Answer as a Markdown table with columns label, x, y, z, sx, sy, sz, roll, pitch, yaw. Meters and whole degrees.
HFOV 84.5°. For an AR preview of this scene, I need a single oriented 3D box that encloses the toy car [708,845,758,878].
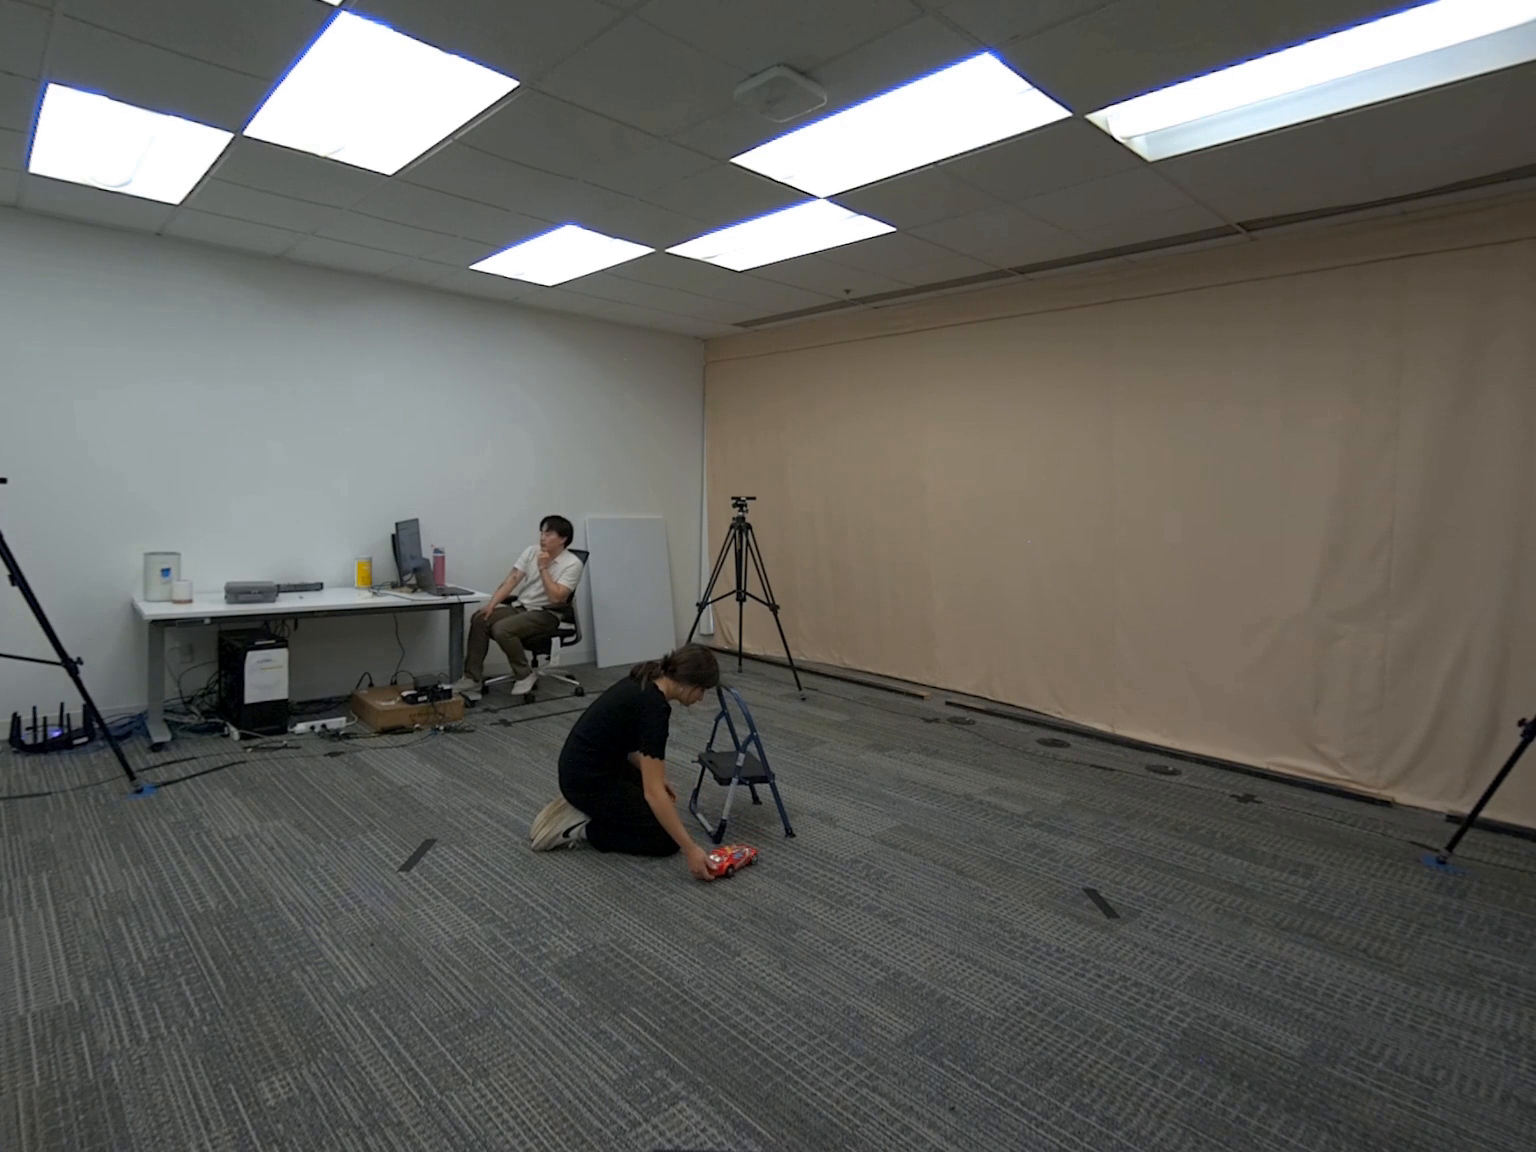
| label | x | y | z | sx | sy | sz | roll | pitch | yaw |
| --- | --- | --- | --- | --- | --- | --- | --- | --- | --- |
| toy car | -0.169 | 1.068 | 3.160 | 0.134 | 0.083 | 0.248 | 9 | -2 | 39 |
